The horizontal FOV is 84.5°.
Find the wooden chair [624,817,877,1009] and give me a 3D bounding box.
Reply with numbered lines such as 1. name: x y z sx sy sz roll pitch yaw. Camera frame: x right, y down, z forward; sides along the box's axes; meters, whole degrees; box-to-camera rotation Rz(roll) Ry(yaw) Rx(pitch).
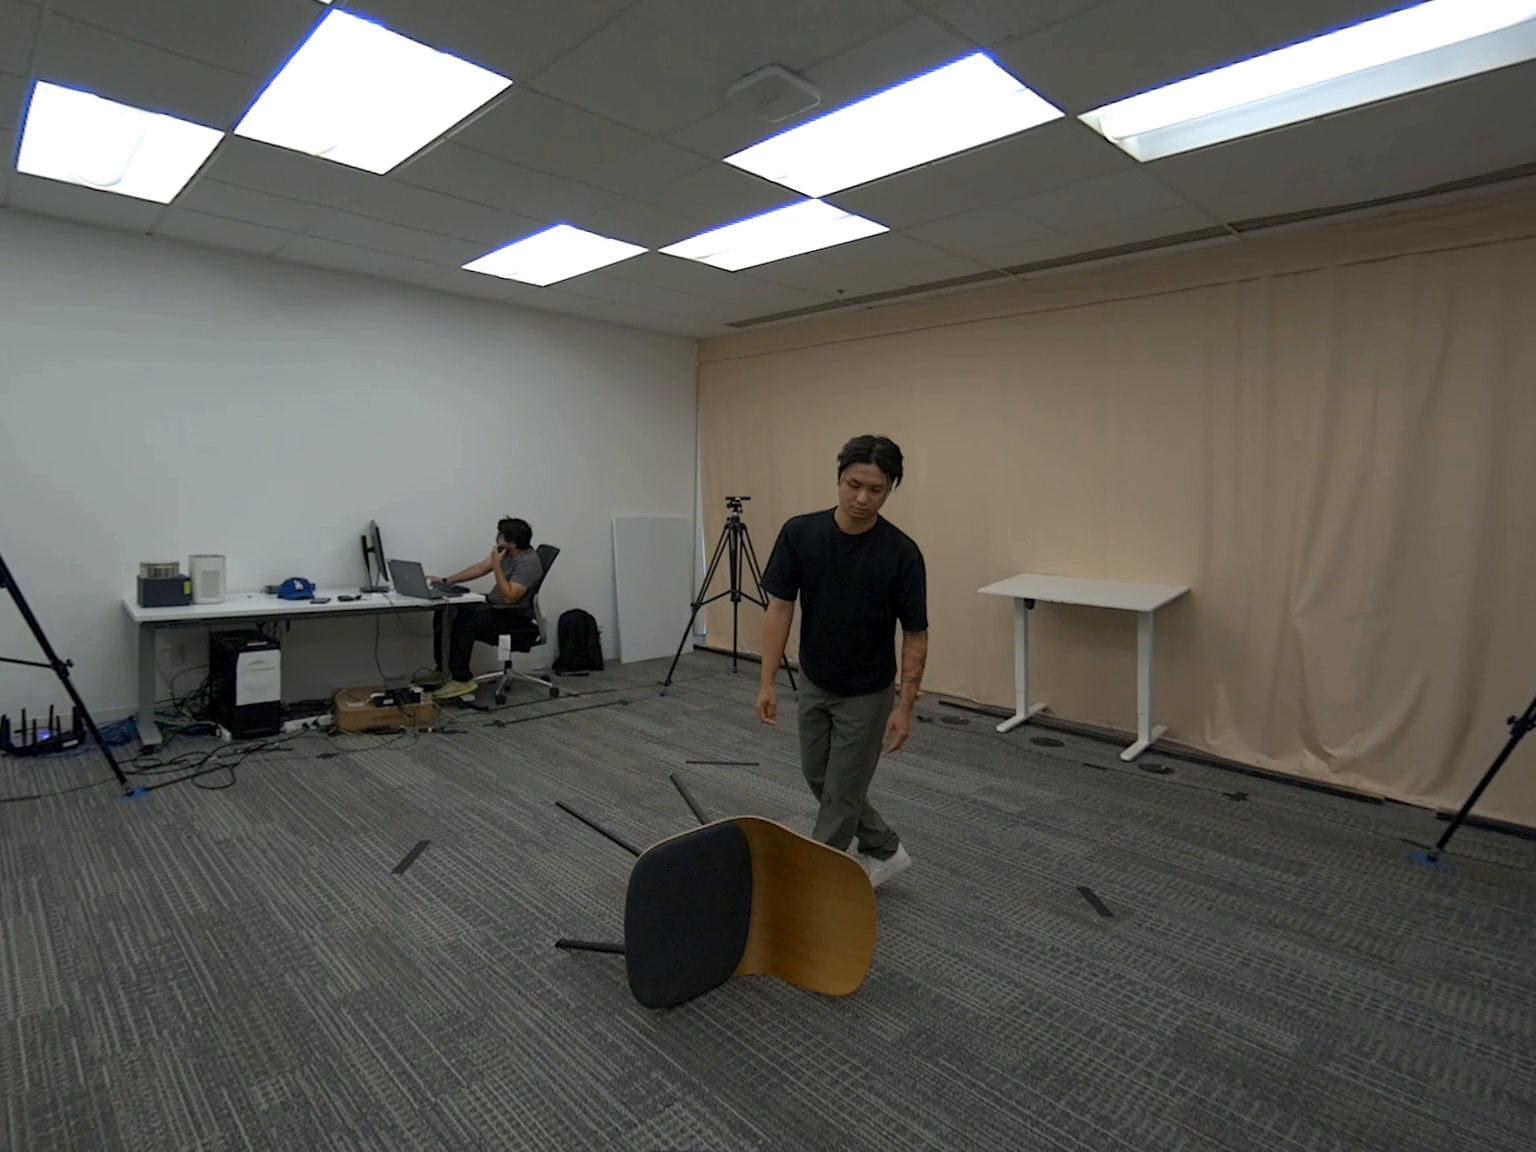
1. wooden chair: -0.206 0.941 2.404 0.900 0.477 0.511 6 5 43
